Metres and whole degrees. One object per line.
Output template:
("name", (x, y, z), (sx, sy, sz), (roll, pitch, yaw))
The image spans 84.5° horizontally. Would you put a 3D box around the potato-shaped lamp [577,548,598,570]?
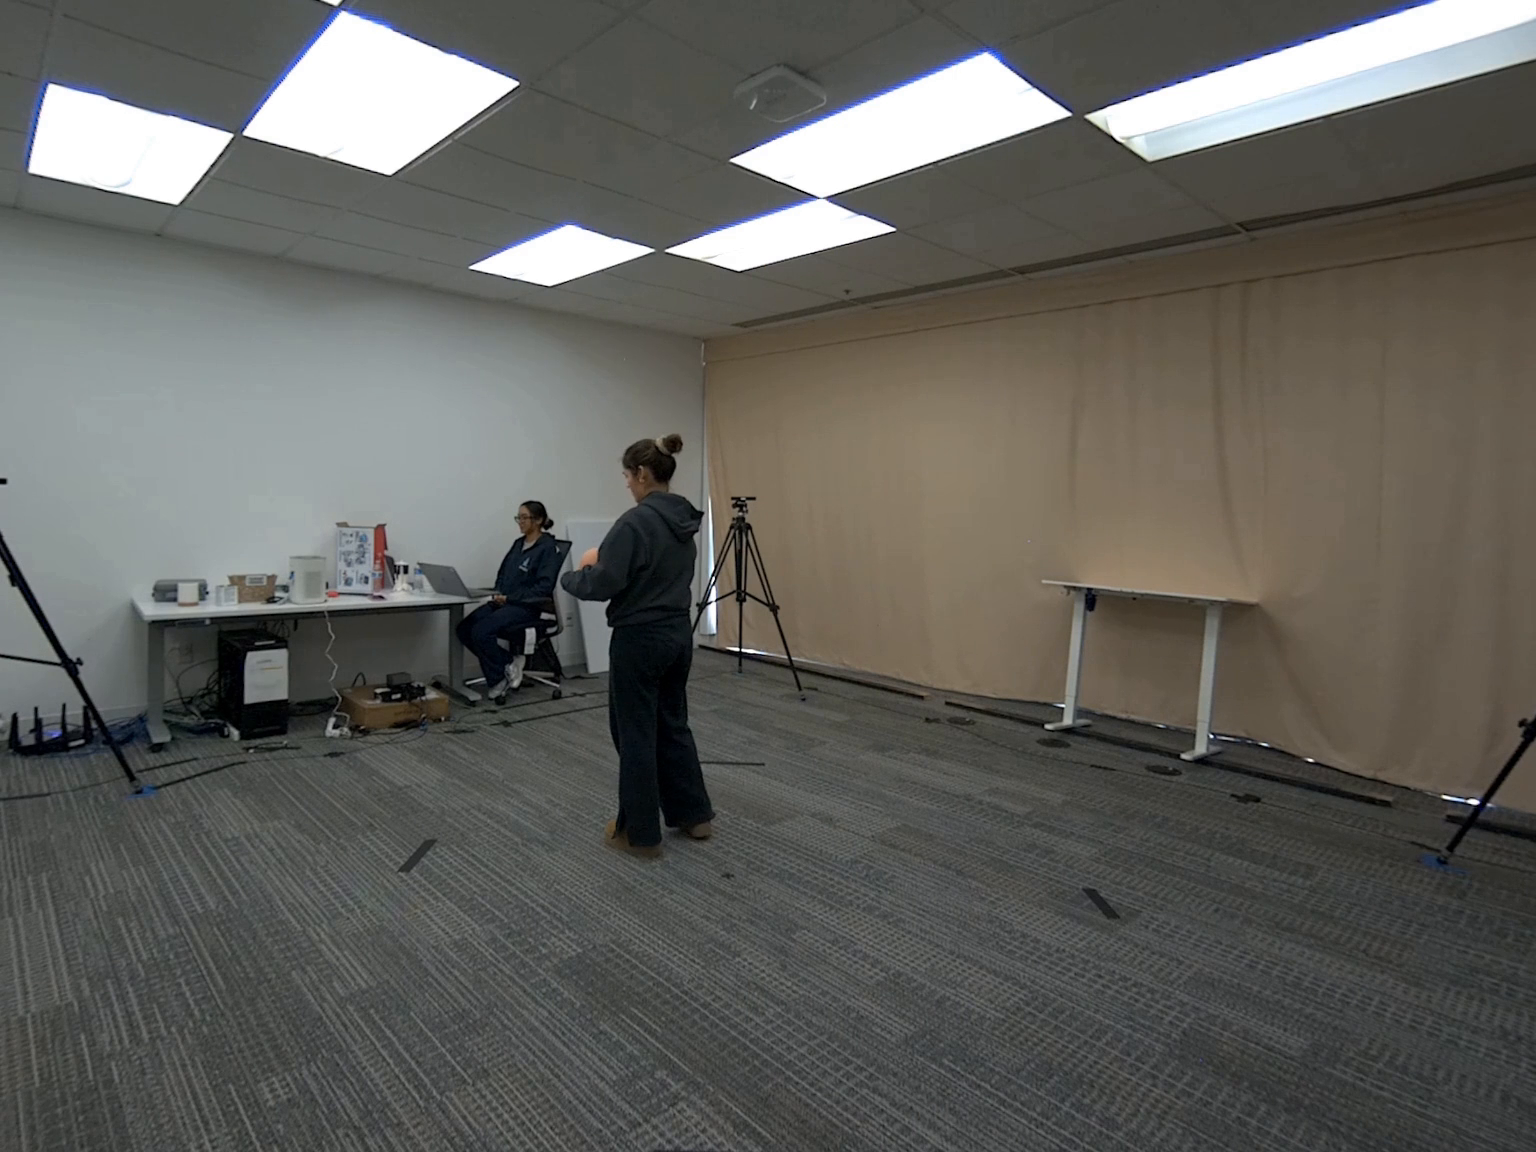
("potato-shaped lamp", (-0.640, -0.029, 3.243), (0.166, 0.173, 0.194), (8, -20, 7))
